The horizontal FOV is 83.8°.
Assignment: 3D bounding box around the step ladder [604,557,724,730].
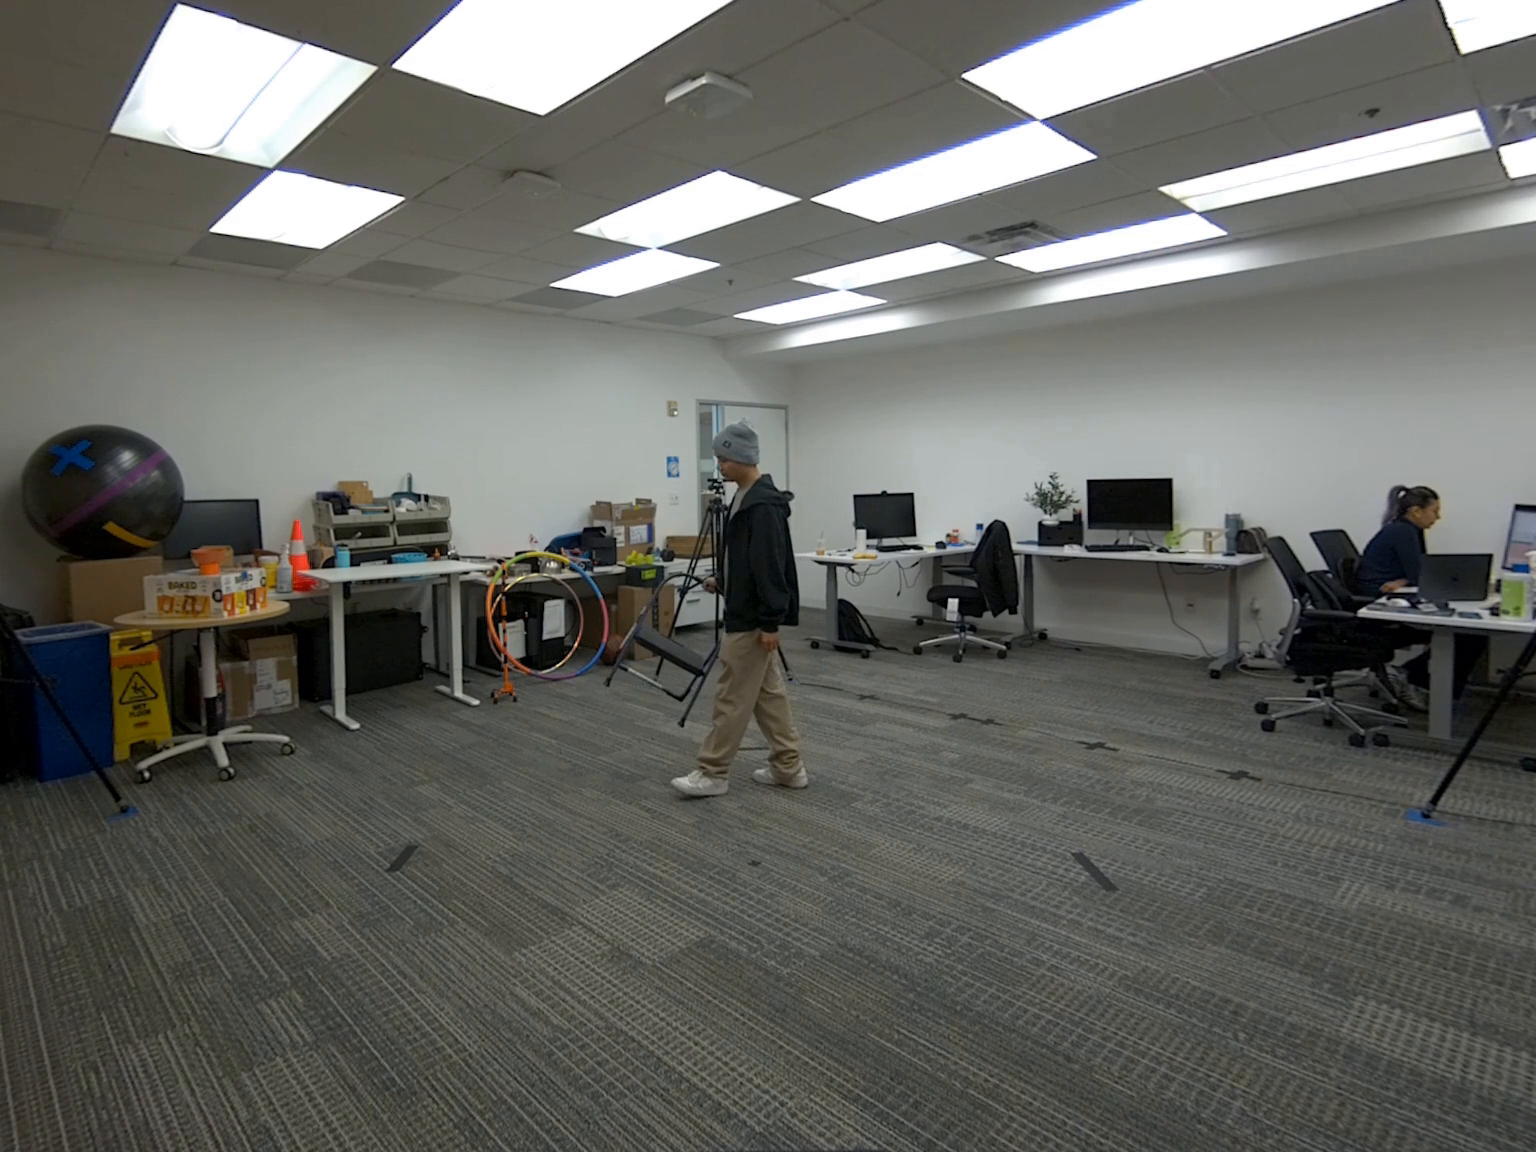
[{"bbox_3d":[-0.430,0.309,4.079,0.426,0.605,0.354,30,7,-10],"label":"step ladder"}]
